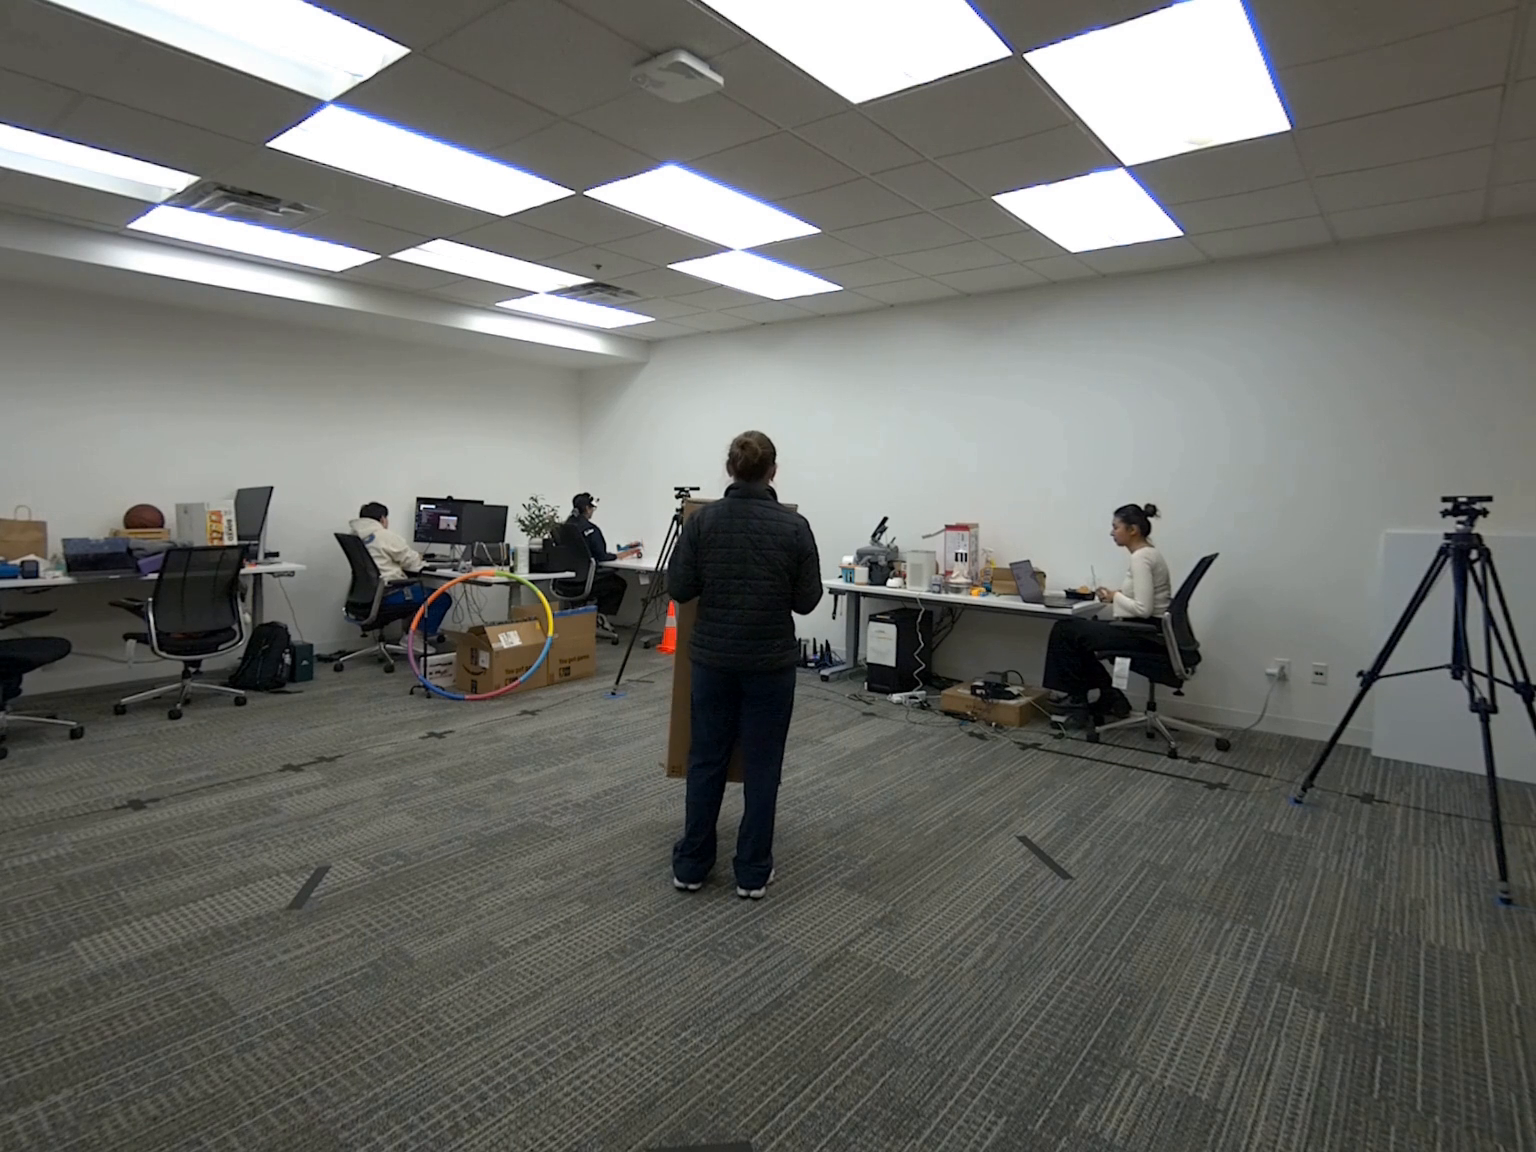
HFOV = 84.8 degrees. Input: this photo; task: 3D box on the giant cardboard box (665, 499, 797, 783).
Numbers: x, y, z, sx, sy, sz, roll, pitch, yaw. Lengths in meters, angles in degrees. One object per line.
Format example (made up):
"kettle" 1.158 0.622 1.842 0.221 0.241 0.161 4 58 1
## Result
"giant cardboard box" -0.120 0.233 3.401 0.426 1.028 0.576 4 -2 -1
